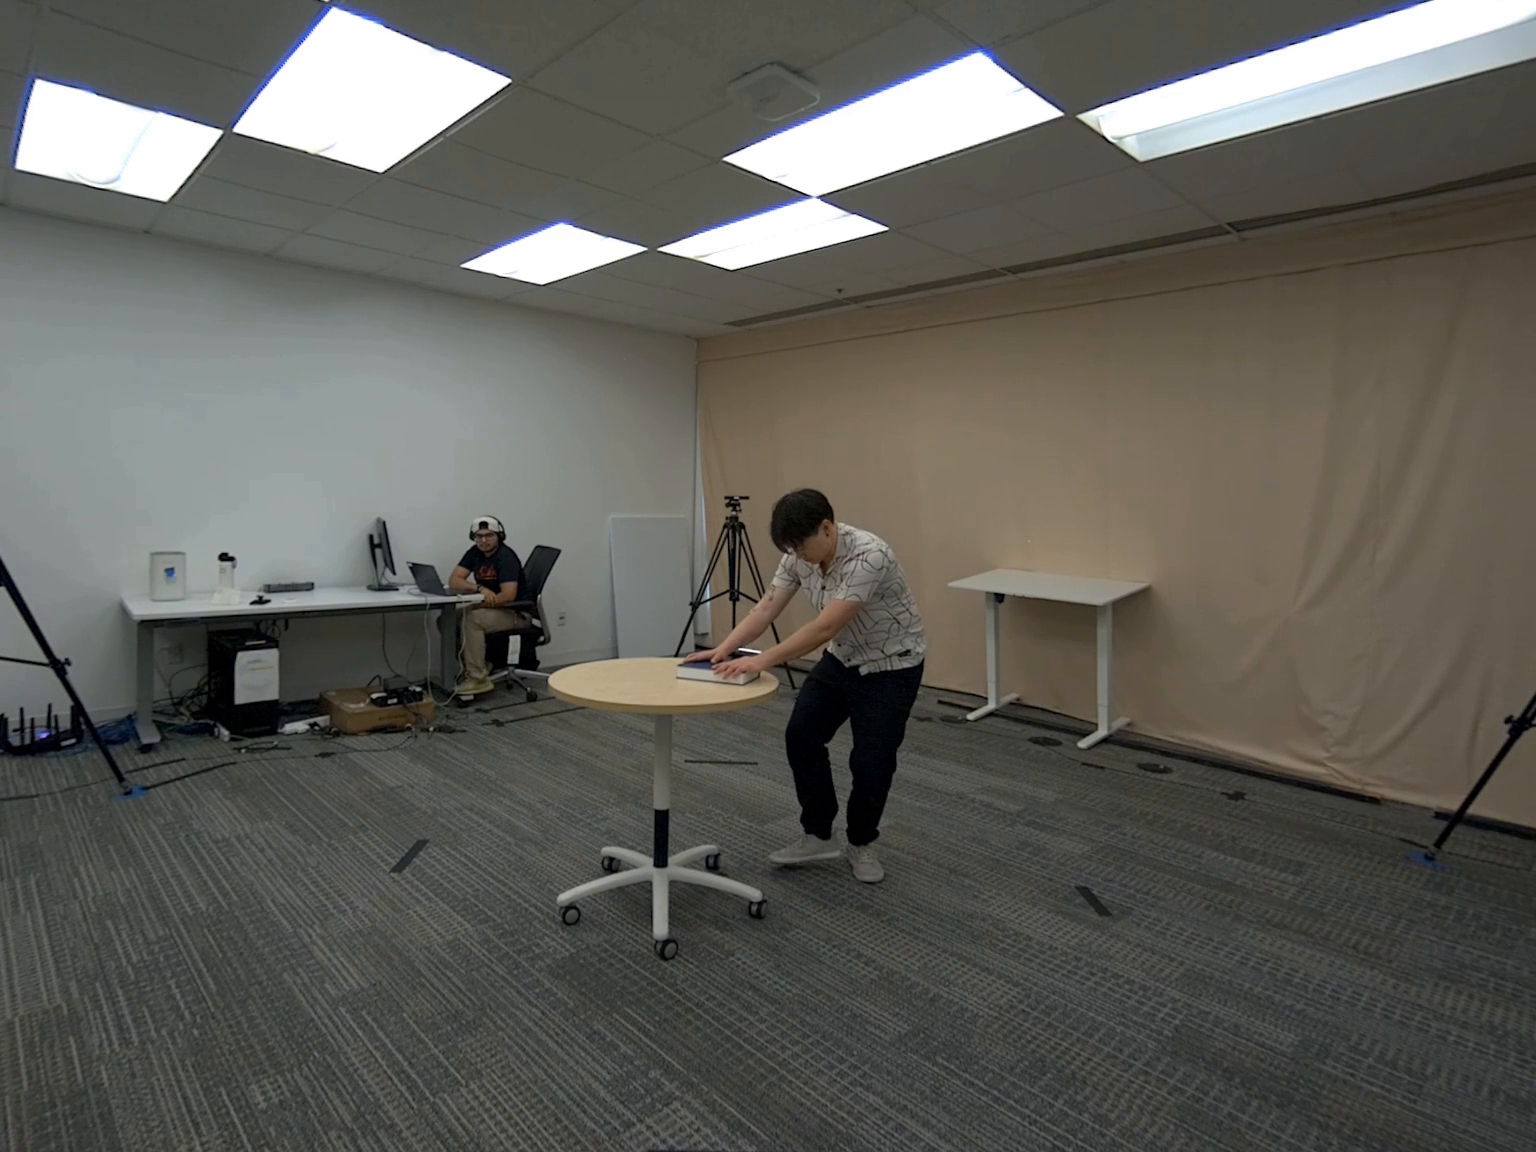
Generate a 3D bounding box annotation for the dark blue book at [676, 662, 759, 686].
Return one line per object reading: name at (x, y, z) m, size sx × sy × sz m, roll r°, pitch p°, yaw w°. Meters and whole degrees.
dark blue book at (-0.177, 0.329, 2.854) m, size 0.249 × 0.045 × 0.161 m, roll 4°, pitch 4°, yaw 20°
